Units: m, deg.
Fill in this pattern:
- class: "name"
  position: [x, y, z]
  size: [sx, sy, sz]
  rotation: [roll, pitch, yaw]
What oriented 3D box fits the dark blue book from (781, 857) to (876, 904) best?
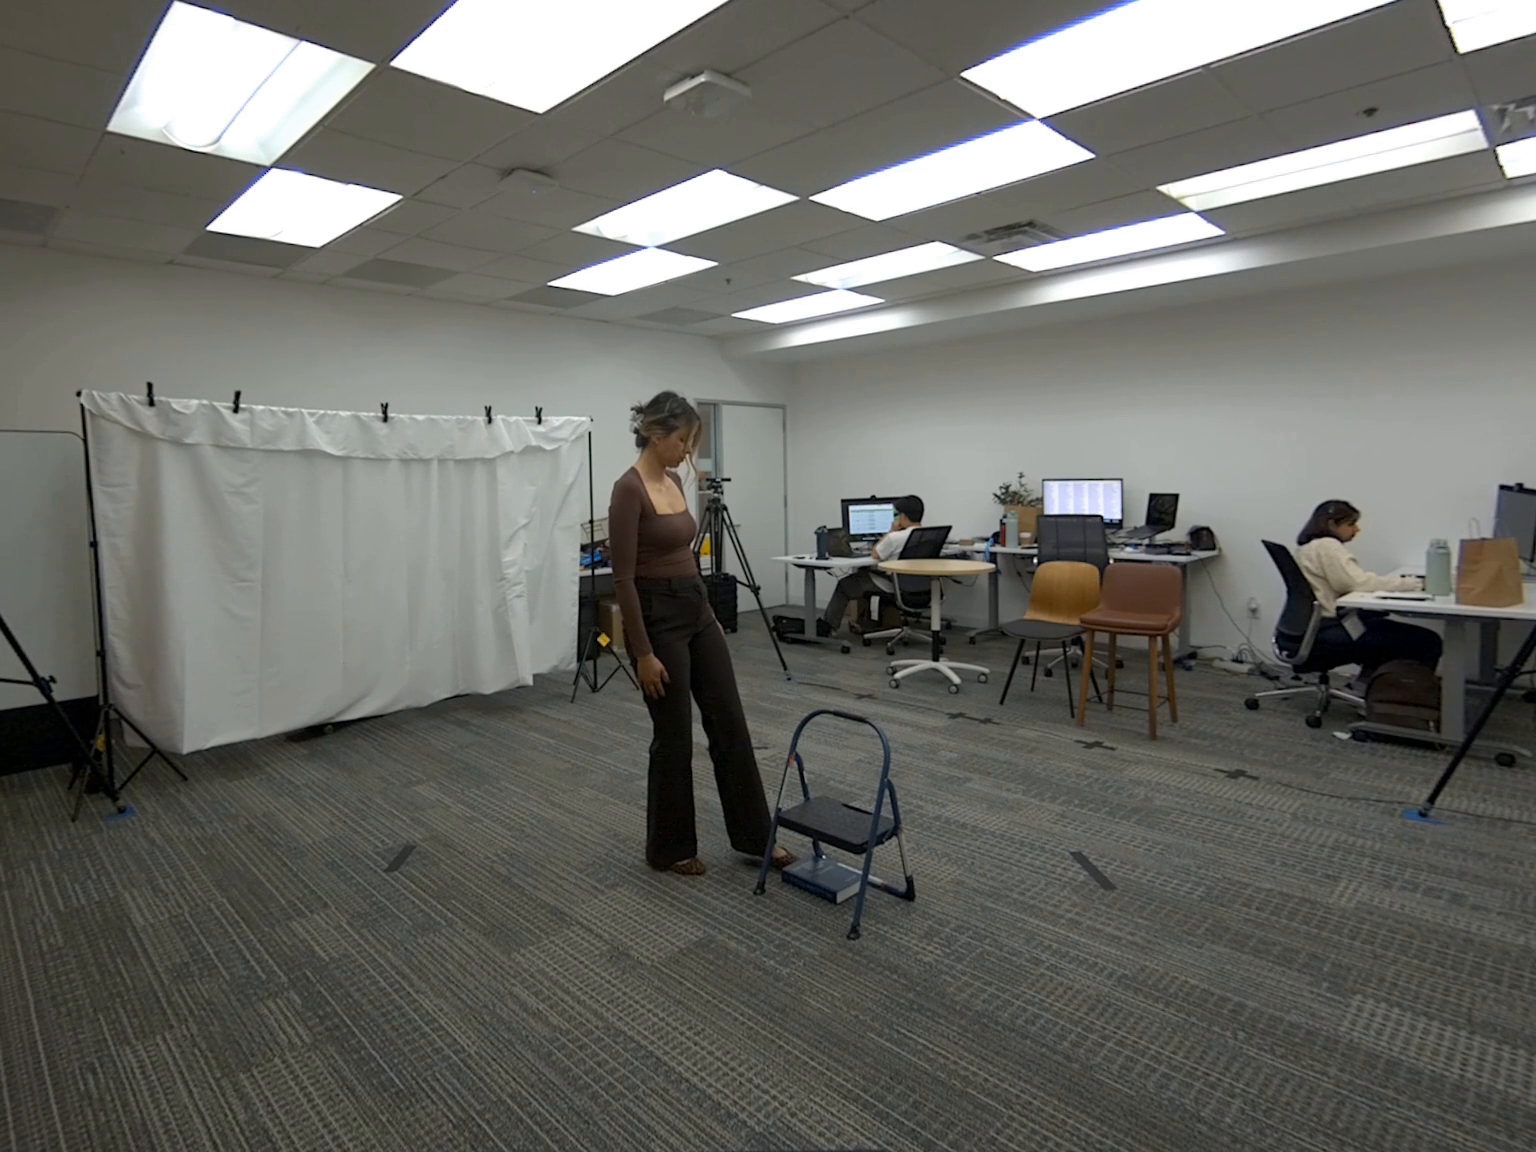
- class: "dark blue book"
  position: [0.190, 1.037, 2.915]
  size: [0.253, 0.045, 0.159]
  rotation: [5, 9, 44]
